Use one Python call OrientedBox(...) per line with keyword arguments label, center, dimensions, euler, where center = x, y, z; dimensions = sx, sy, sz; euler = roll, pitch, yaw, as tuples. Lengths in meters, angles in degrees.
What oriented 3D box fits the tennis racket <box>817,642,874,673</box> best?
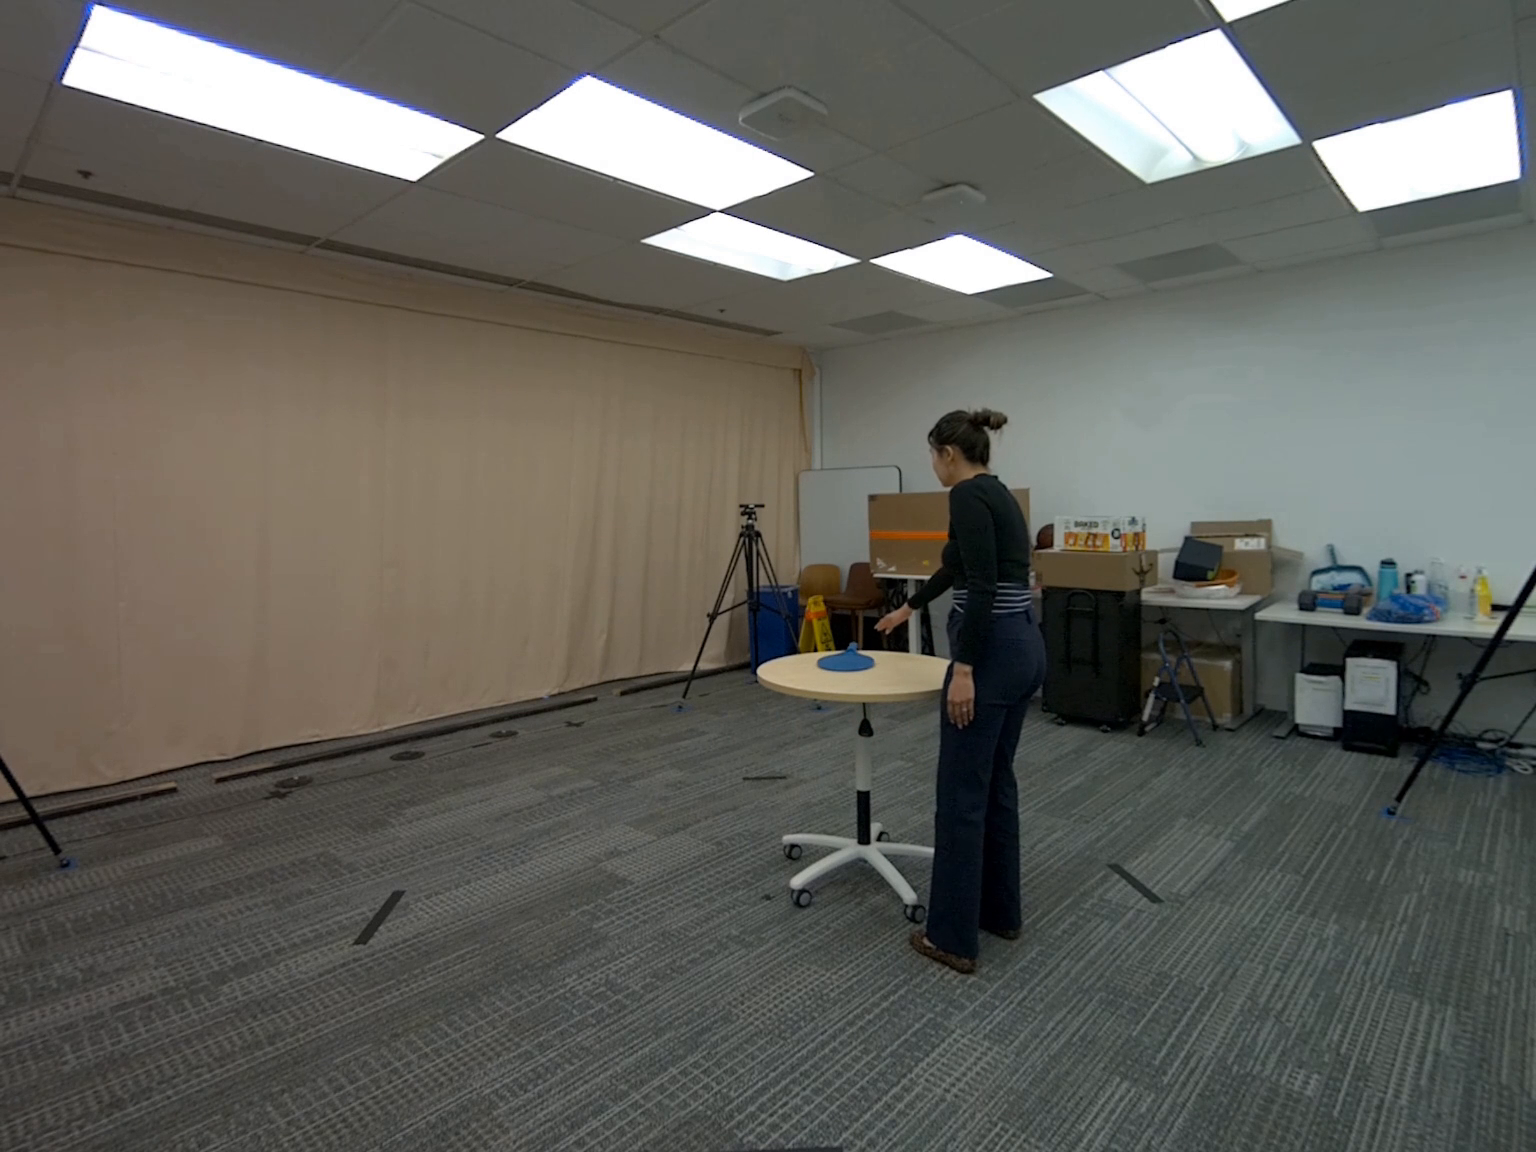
OrientedBox(label="tennis racket", center=(0.314, 0.313, 3.247), dimensions=(0.217, 0.031, 0.428), euler=(0, 8, 12))
